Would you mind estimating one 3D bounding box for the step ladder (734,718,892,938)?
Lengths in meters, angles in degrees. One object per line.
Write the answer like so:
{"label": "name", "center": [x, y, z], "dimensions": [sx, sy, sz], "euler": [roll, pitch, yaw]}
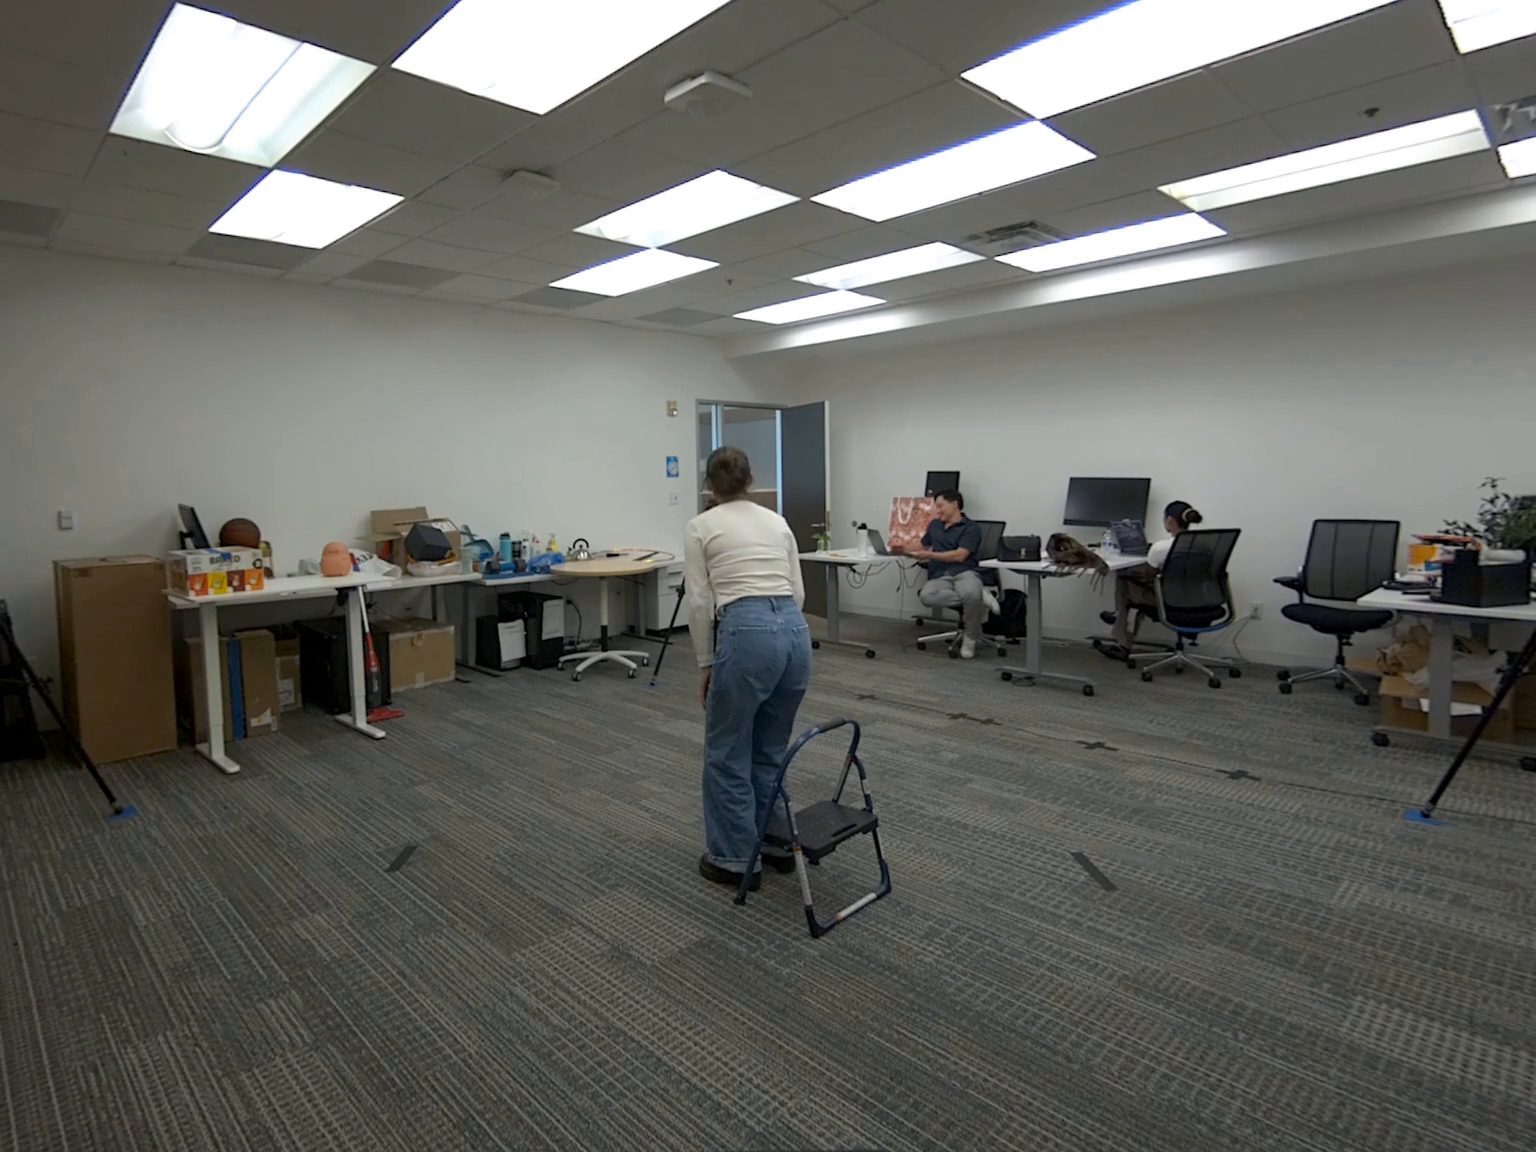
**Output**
{"label": "step ladder", "center": [0.151, 0.767, 2.831], "dimensions": [0.360, 0.604, 0.419], "euler": [2, 6, 43]}
